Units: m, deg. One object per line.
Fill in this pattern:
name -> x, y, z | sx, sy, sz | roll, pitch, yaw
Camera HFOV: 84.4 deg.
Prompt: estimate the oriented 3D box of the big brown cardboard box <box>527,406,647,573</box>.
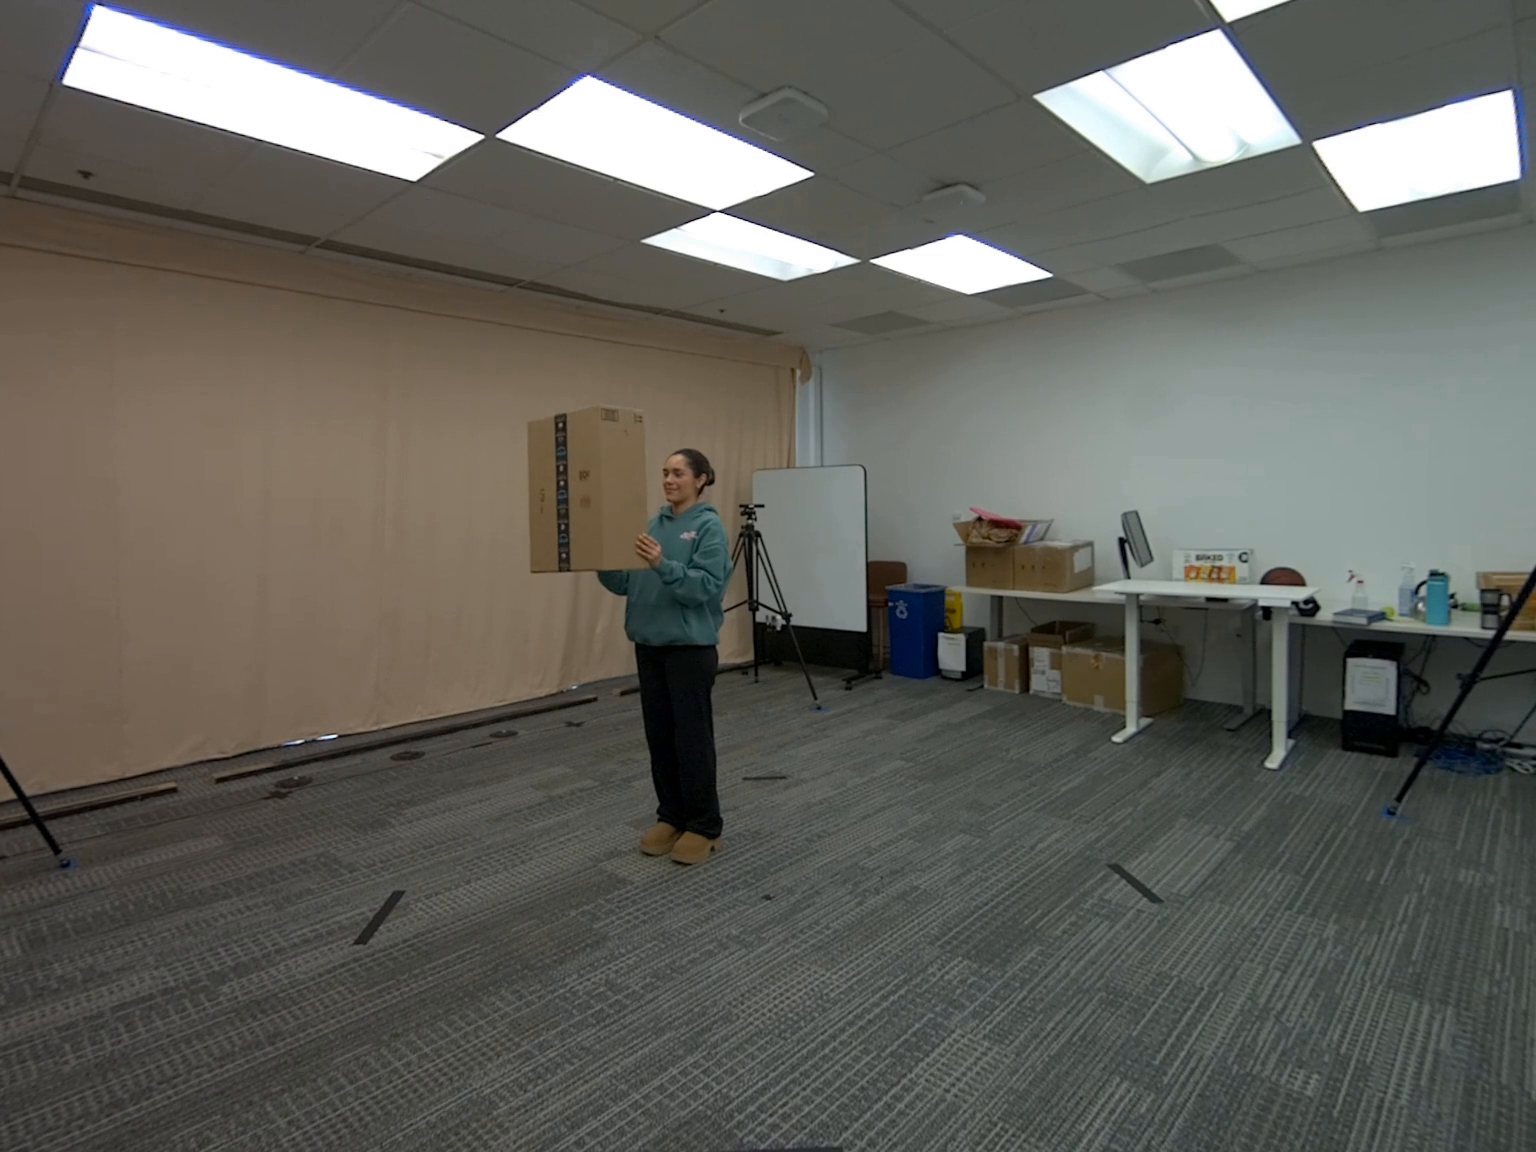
big brown cardboard box -> -0.659, -0.283, 3.064 | 0.431, 0.588, 0.226 | -1, 1, 40
